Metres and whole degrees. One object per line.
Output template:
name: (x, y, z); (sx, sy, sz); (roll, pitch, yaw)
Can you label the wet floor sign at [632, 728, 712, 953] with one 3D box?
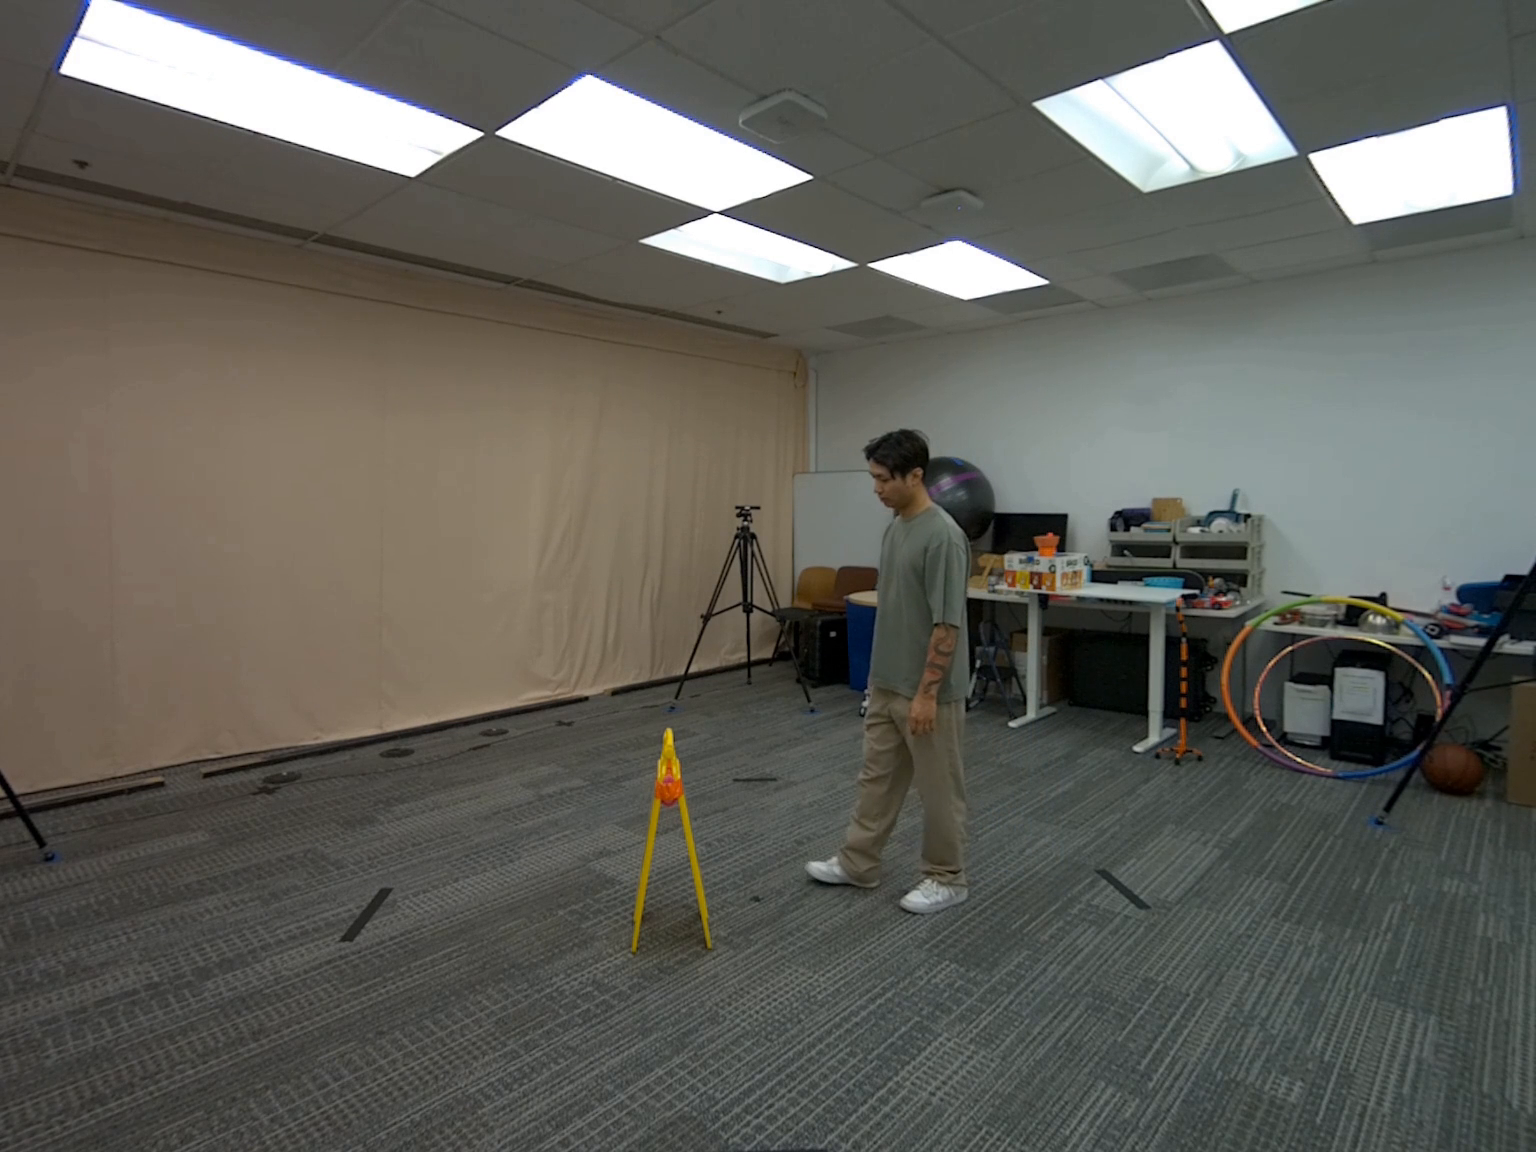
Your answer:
wet floor sign: (-0.317, 0.845, 2.753); (0.288, 0.645, 0.284); (-1, 2, -6)
